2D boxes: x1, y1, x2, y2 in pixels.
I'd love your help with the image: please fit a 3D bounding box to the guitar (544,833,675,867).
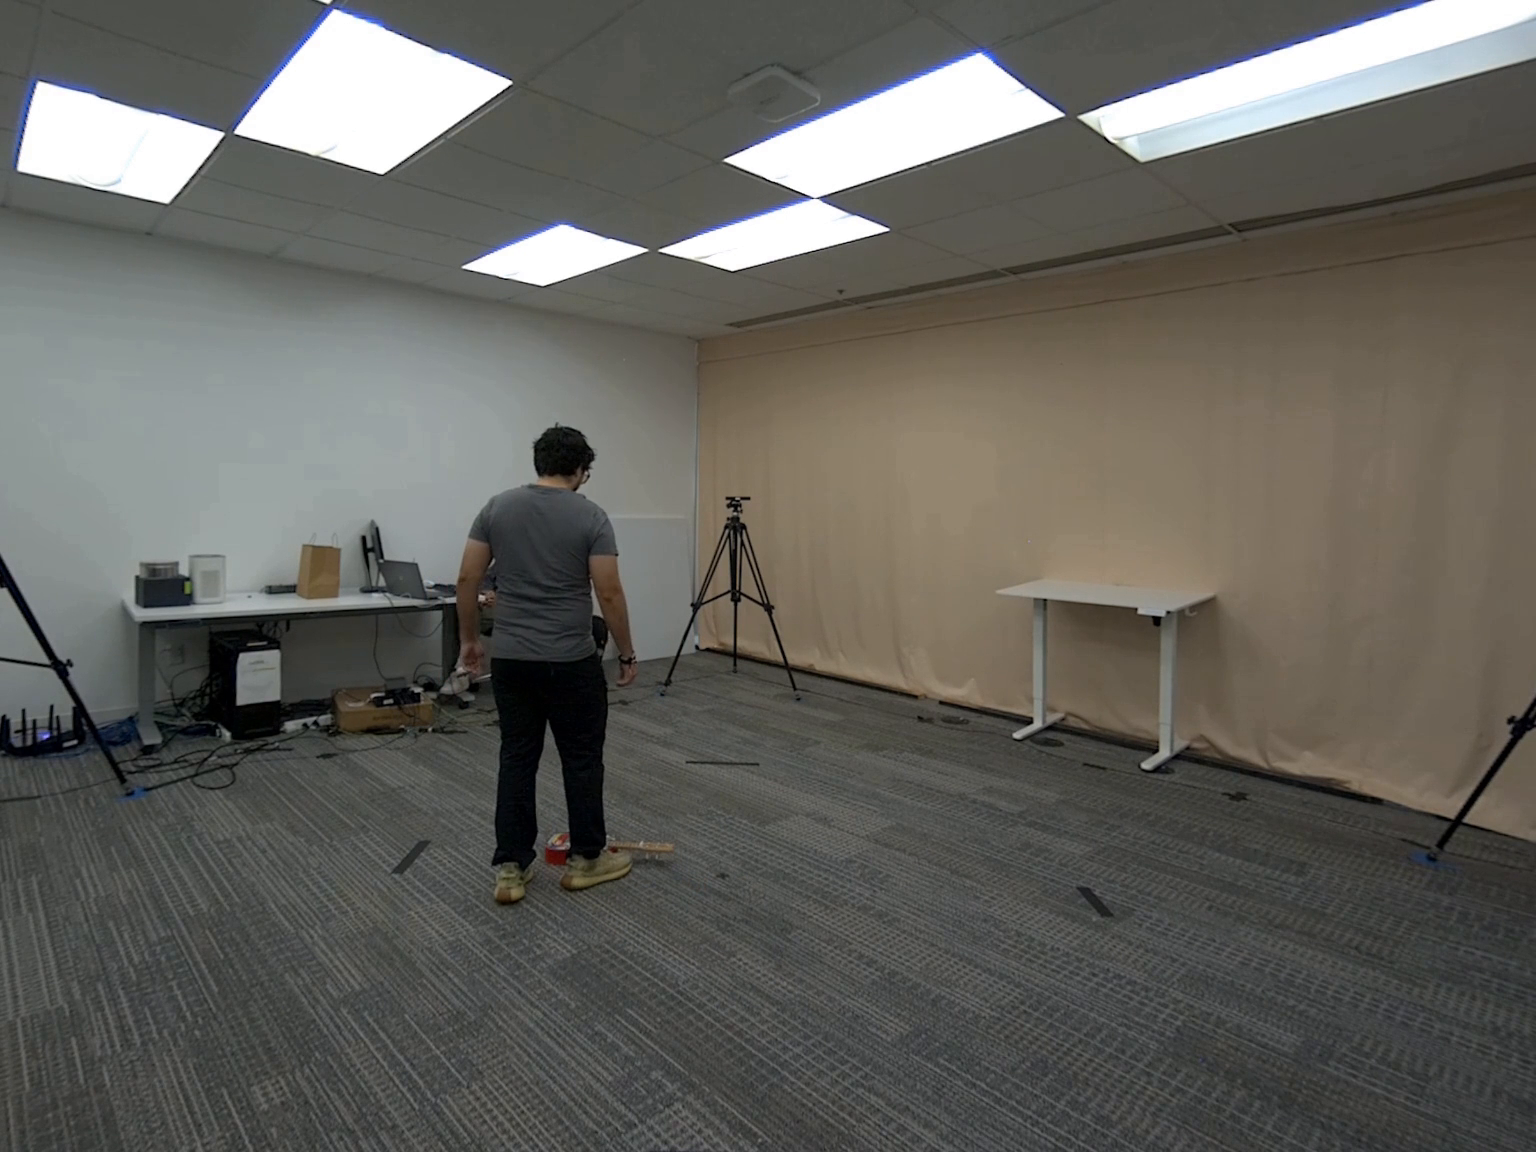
[{"bbox_3d":[-0.610,1.048,3.197,0.505,0.070,0.191,3,5,17],"label":"guitar"}]
